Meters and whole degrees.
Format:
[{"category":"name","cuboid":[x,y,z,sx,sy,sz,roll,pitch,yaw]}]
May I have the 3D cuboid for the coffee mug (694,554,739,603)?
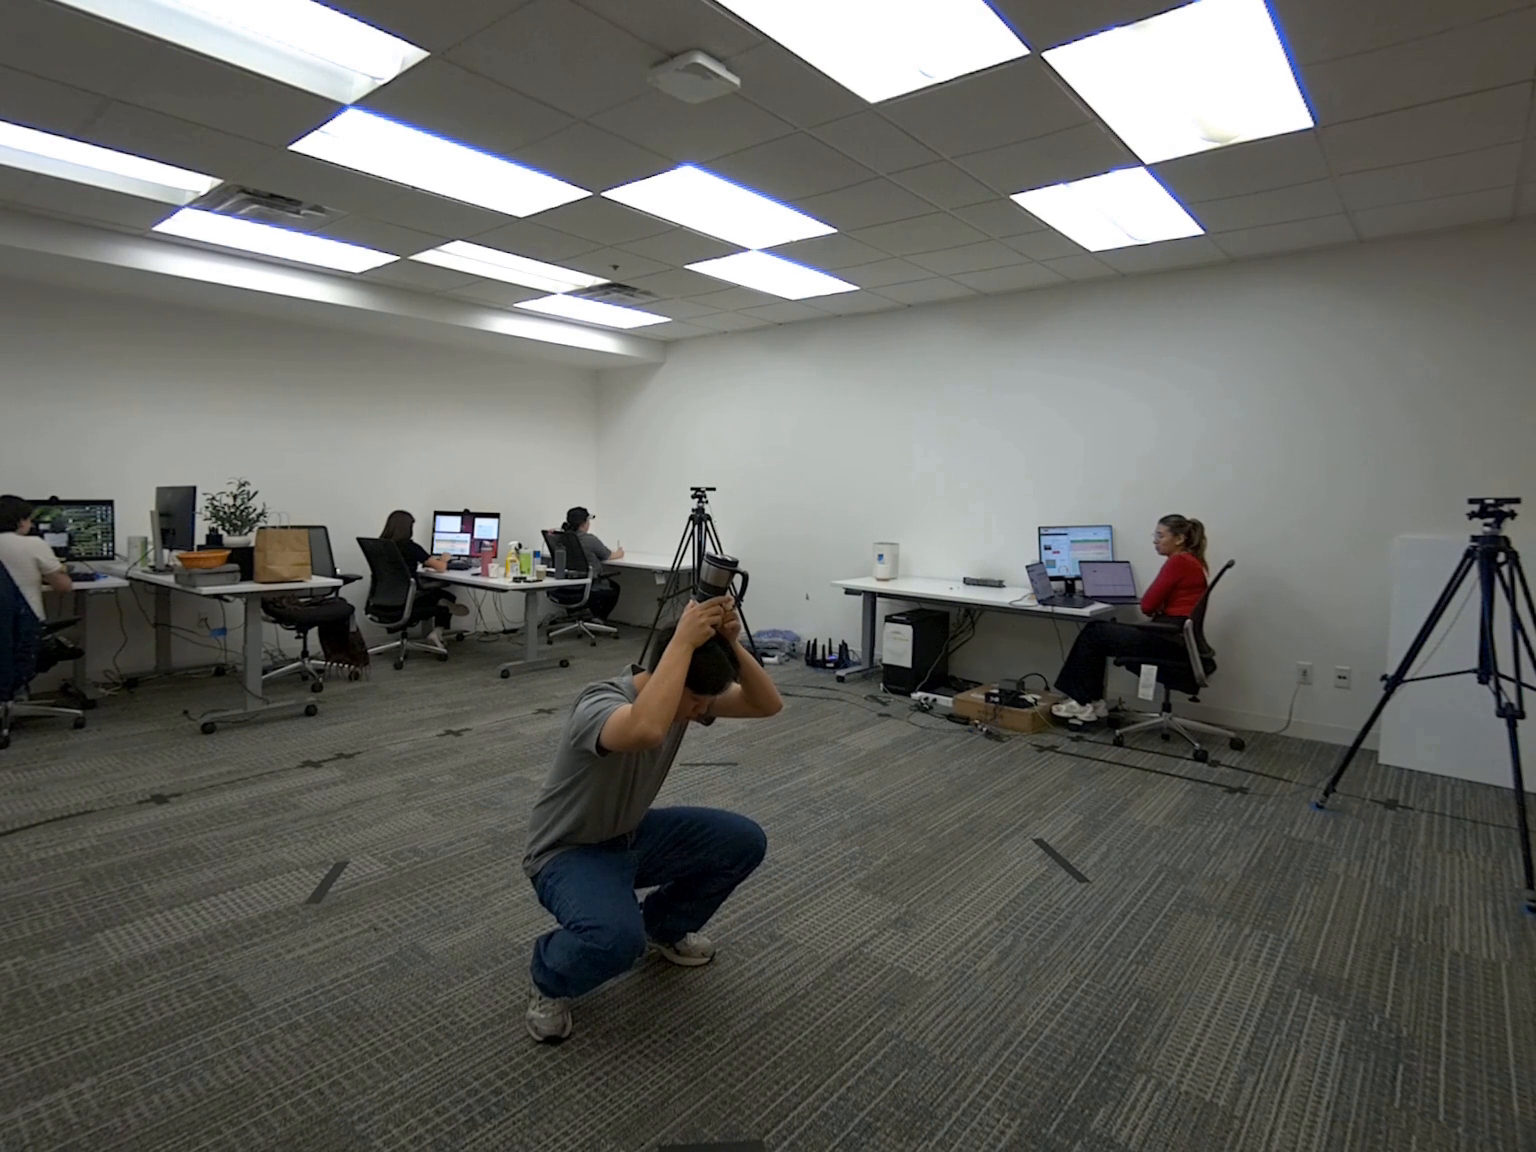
[{"category":"coffee mug","cuboid":[-0.134,0.048,2.129,0.126,0.202,0.085,22,11,30]}]
